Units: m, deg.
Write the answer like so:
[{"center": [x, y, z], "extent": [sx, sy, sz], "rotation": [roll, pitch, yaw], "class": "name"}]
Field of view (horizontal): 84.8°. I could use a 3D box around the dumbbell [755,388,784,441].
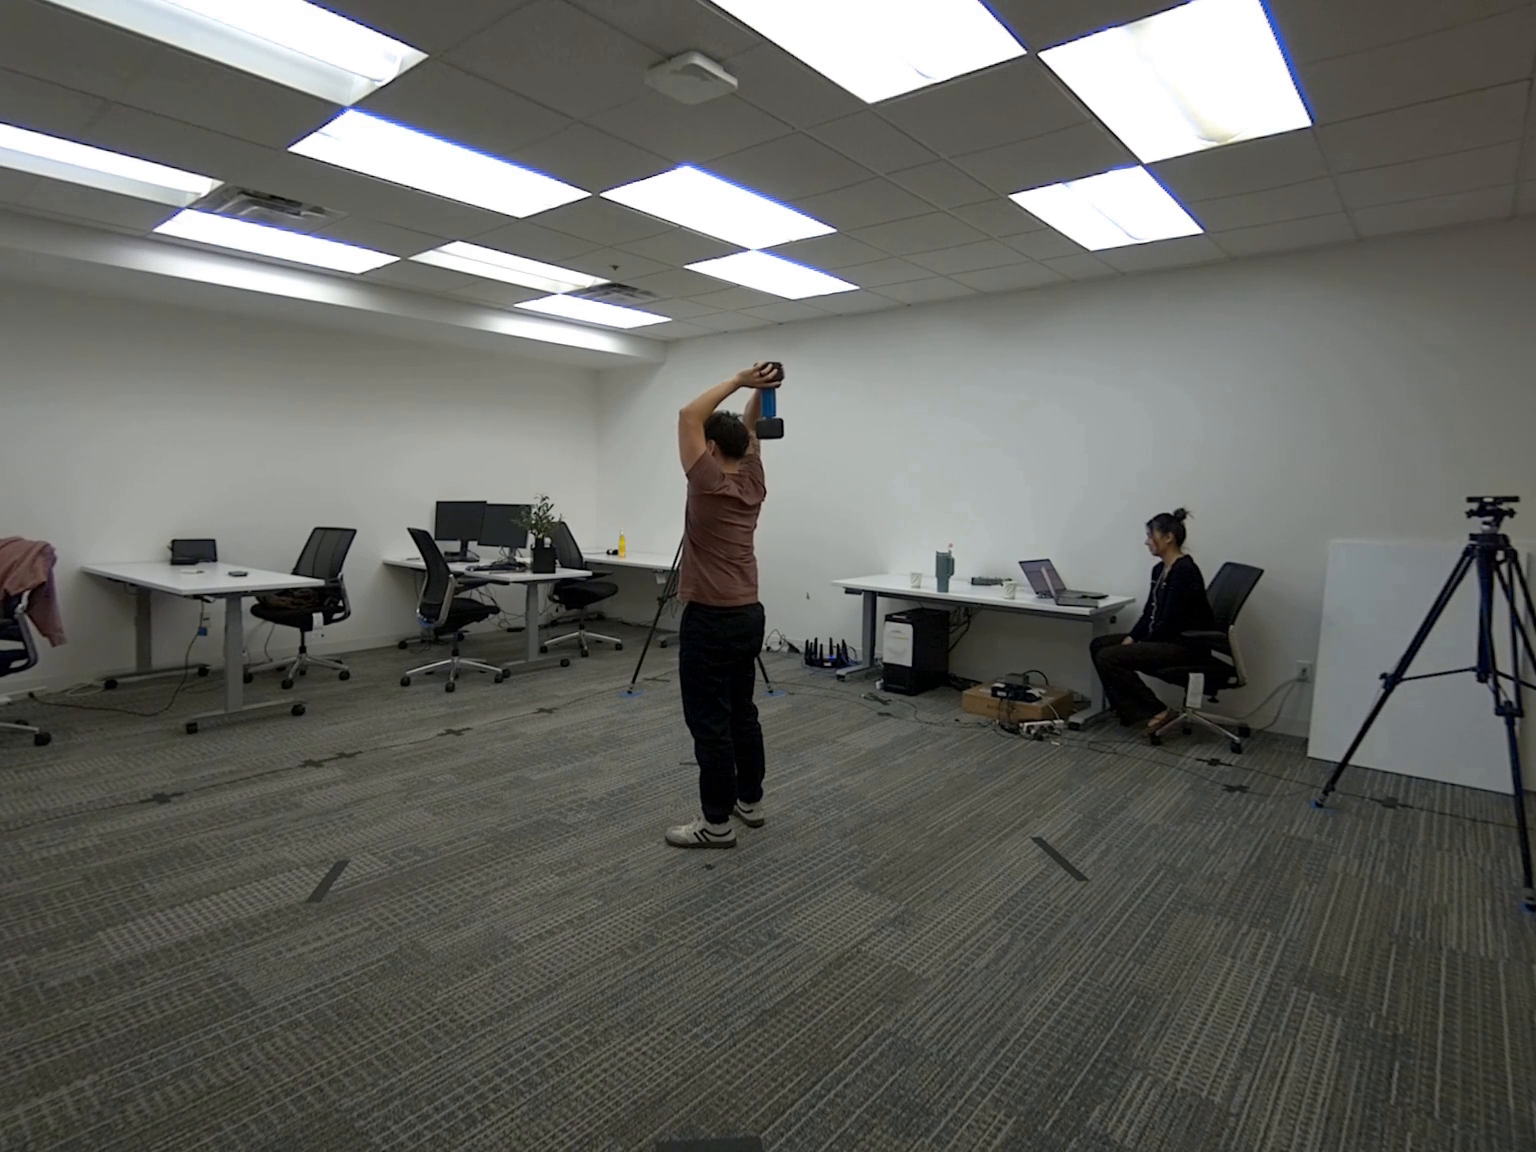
[{"center": [-0.011, -0.675, 3.277], "extent": [0.126, 0.293, 0.106], "rotation": [-2, 3, 35], "class": "dumbbell"}]
